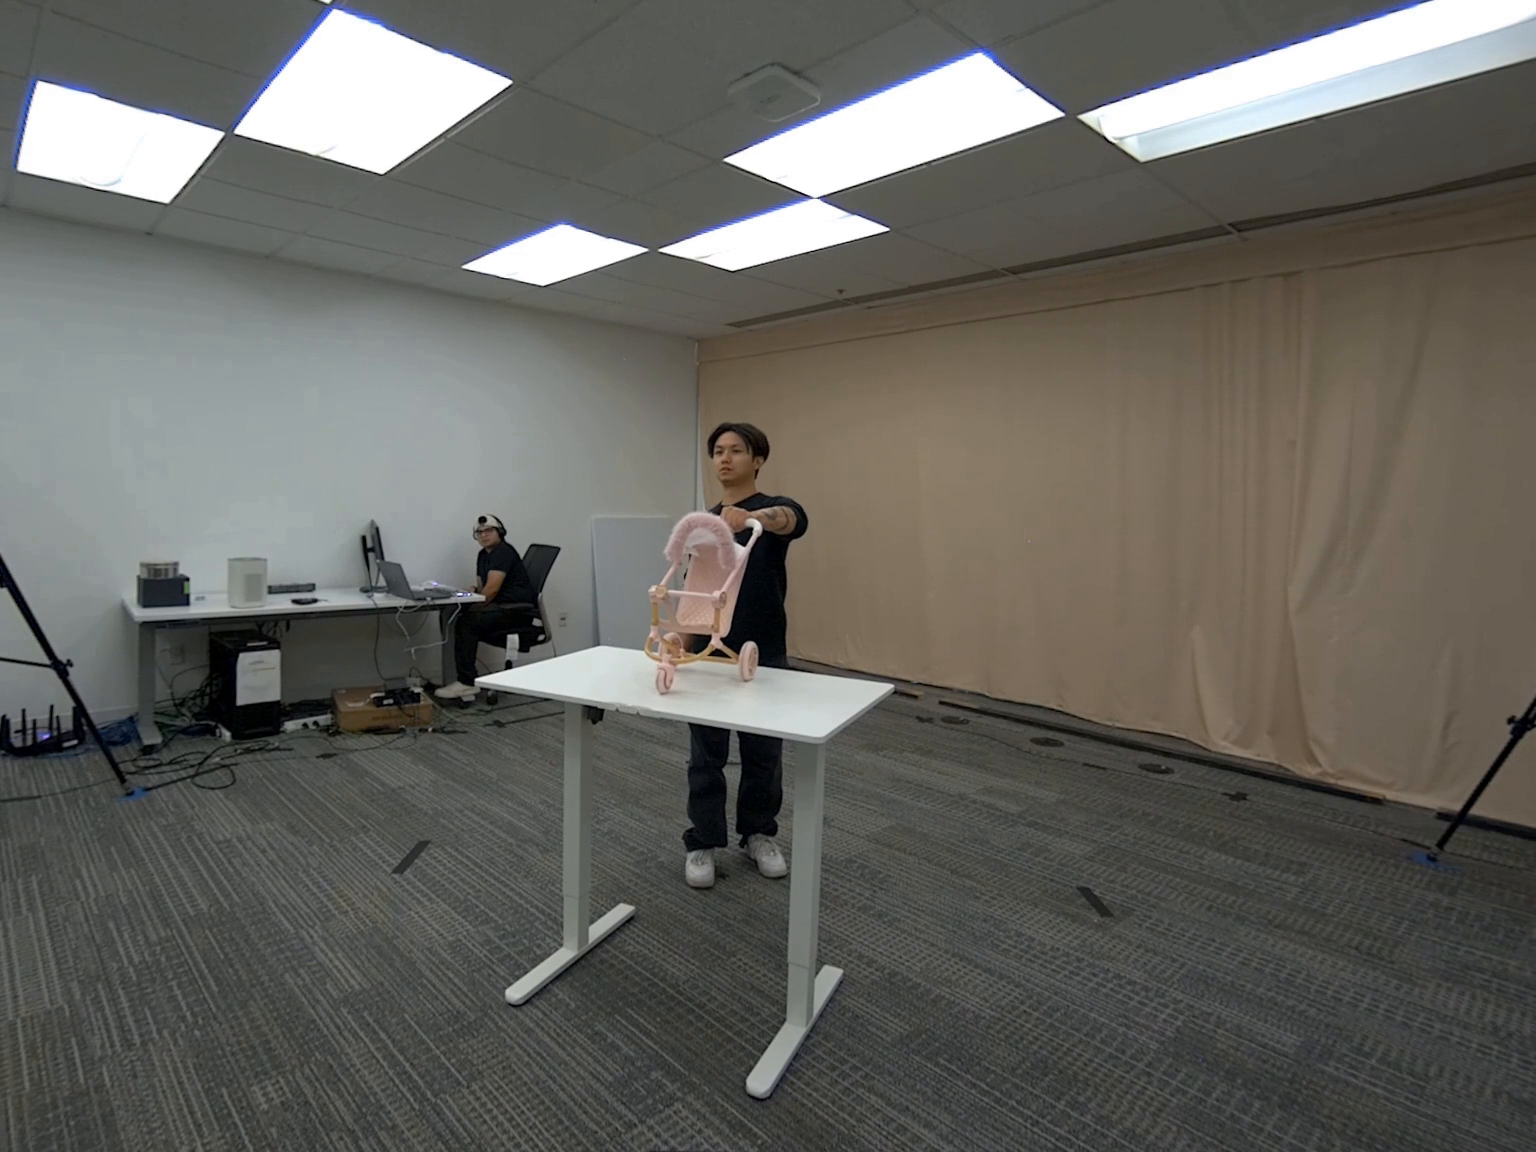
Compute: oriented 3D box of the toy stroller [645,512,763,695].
[{"bbox_3d":[-0.200,0.067,2.334,0.287,0.537,0.332,4,-8,27],"label":"toy stroller"}]
